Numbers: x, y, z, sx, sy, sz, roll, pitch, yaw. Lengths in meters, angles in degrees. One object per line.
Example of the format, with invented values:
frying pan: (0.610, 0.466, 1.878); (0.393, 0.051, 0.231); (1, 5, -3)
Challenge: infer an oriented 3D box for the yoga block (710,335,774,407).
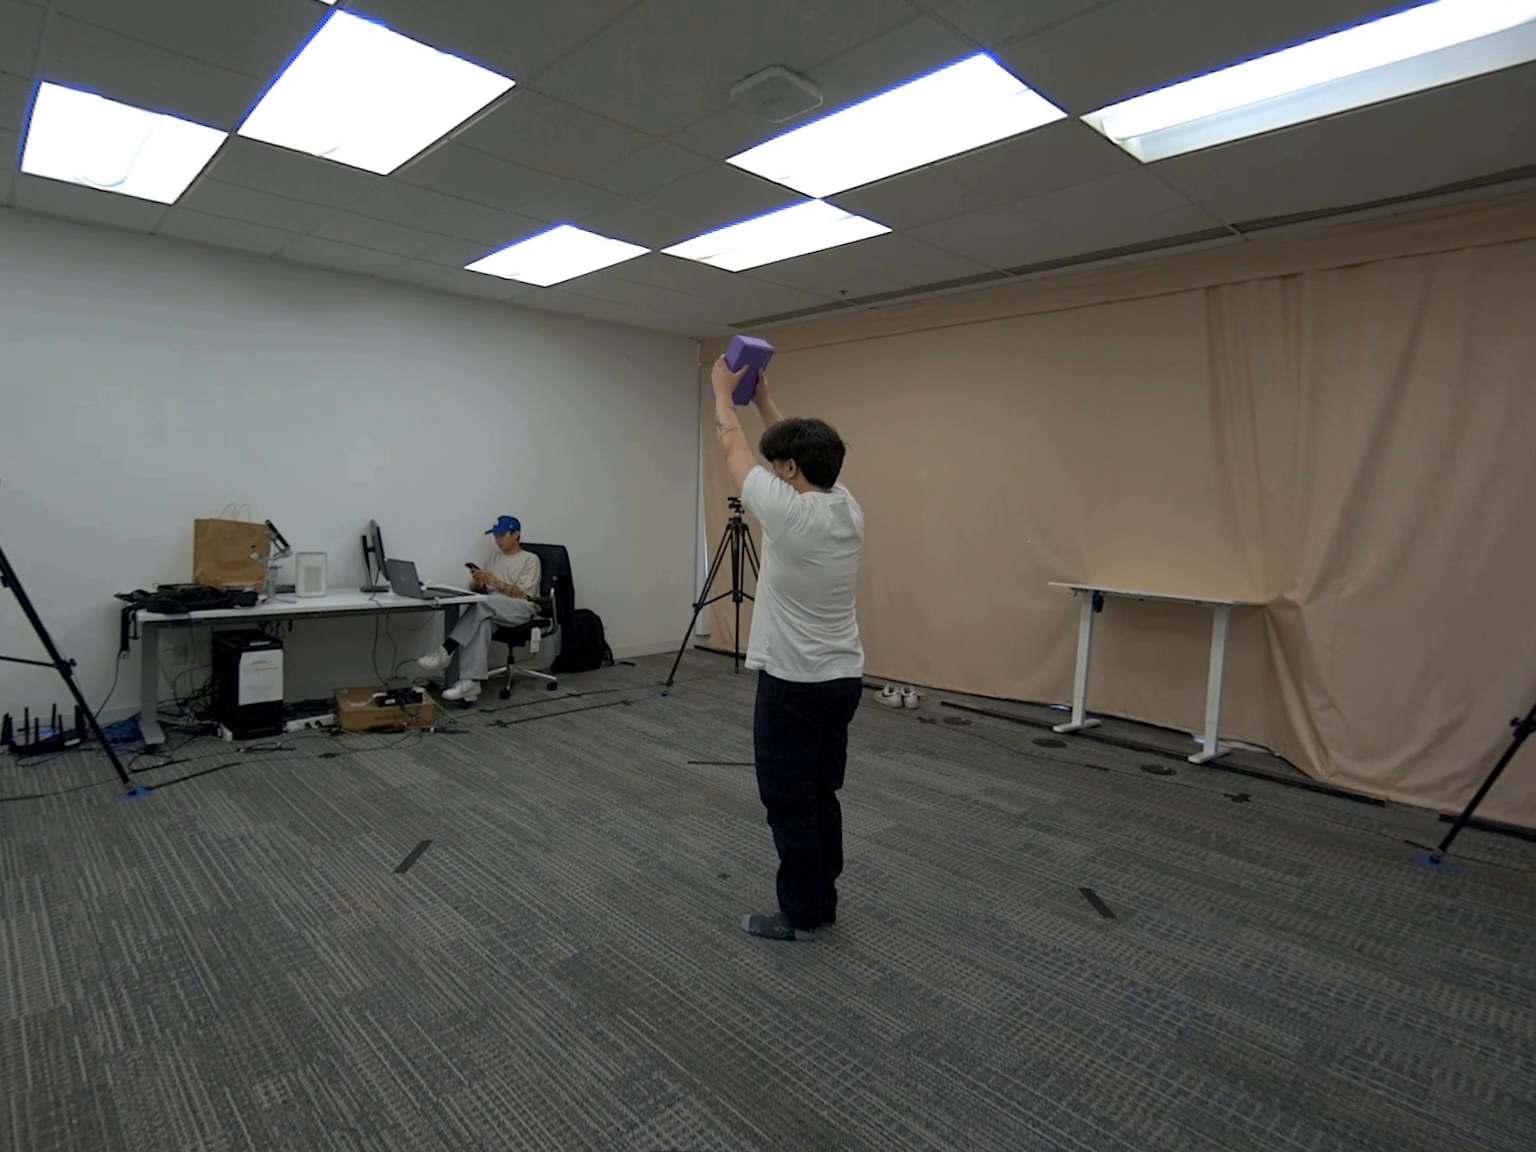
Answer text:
yoga block: (-0.092, -0.698, 2.891); (0.146, 0.228, 0.079); (-4, 43, -45)
